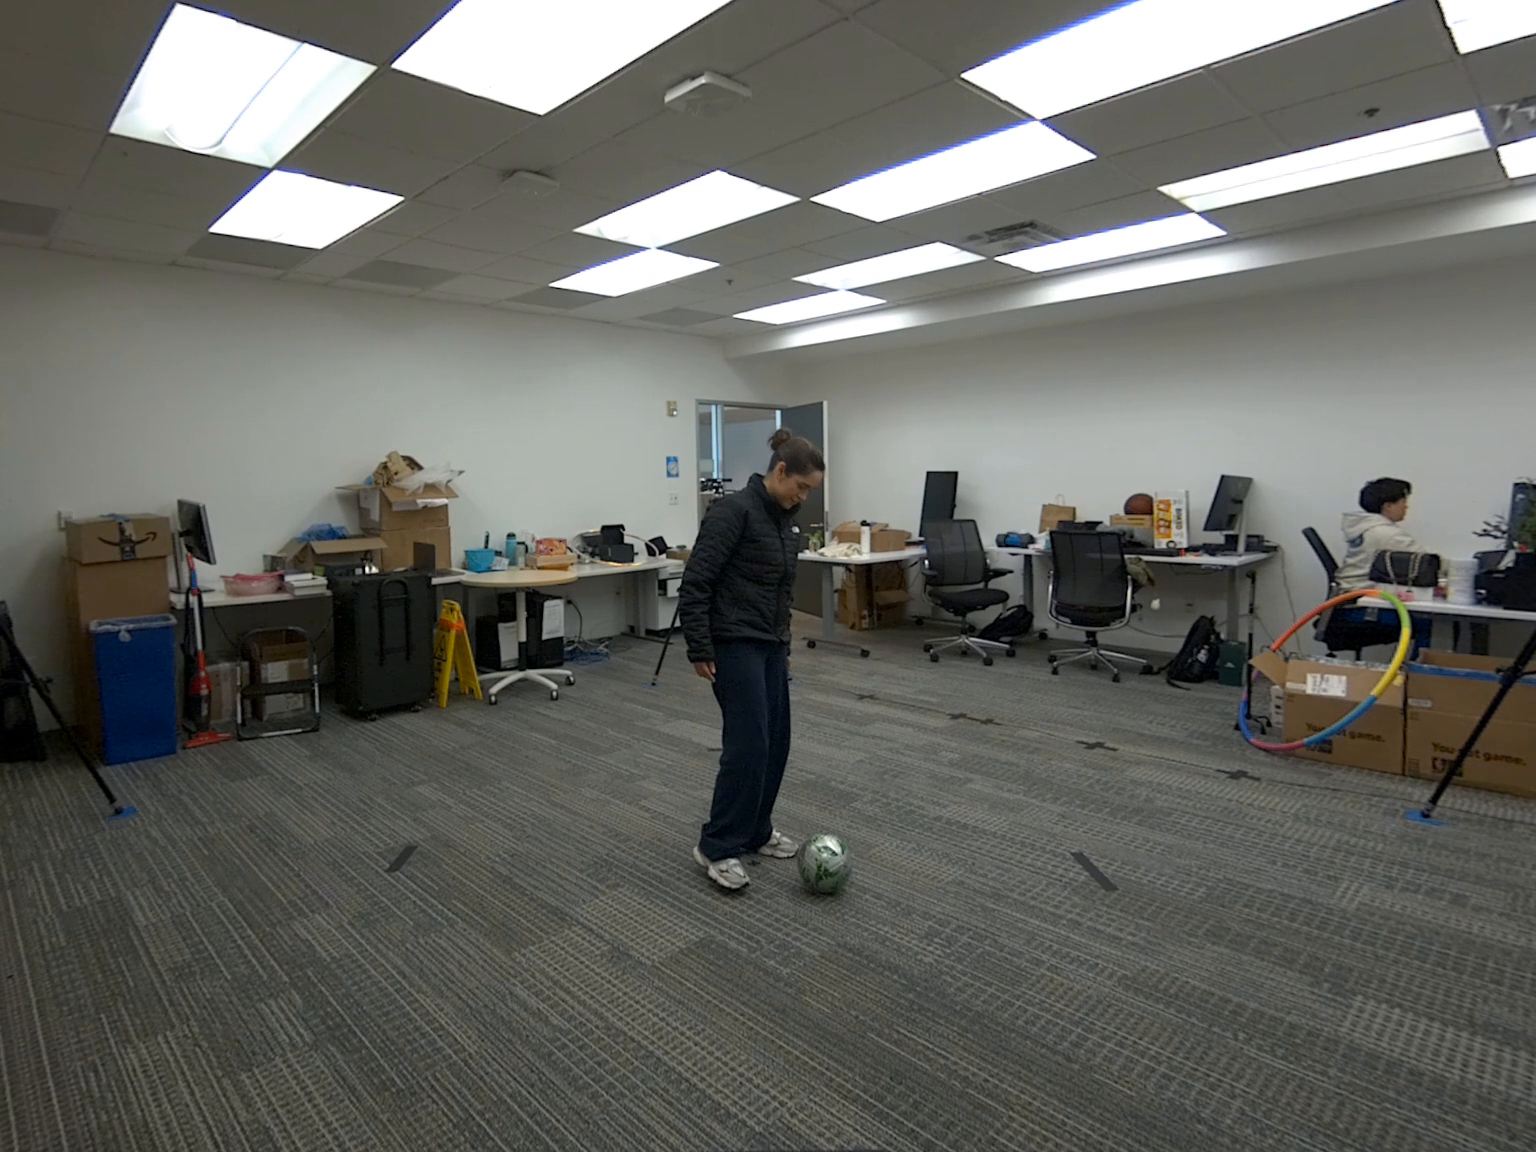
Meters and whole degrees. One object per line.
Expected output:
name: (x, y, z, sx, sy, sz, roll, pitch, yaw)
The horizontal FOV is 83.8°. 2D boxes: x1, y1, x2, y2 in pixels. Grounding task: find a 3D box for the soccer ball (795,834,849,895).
soccer ball: (0.195, 0.967, 2.887, 0.187, 0.187, 0.188, -1, 5, -2)
